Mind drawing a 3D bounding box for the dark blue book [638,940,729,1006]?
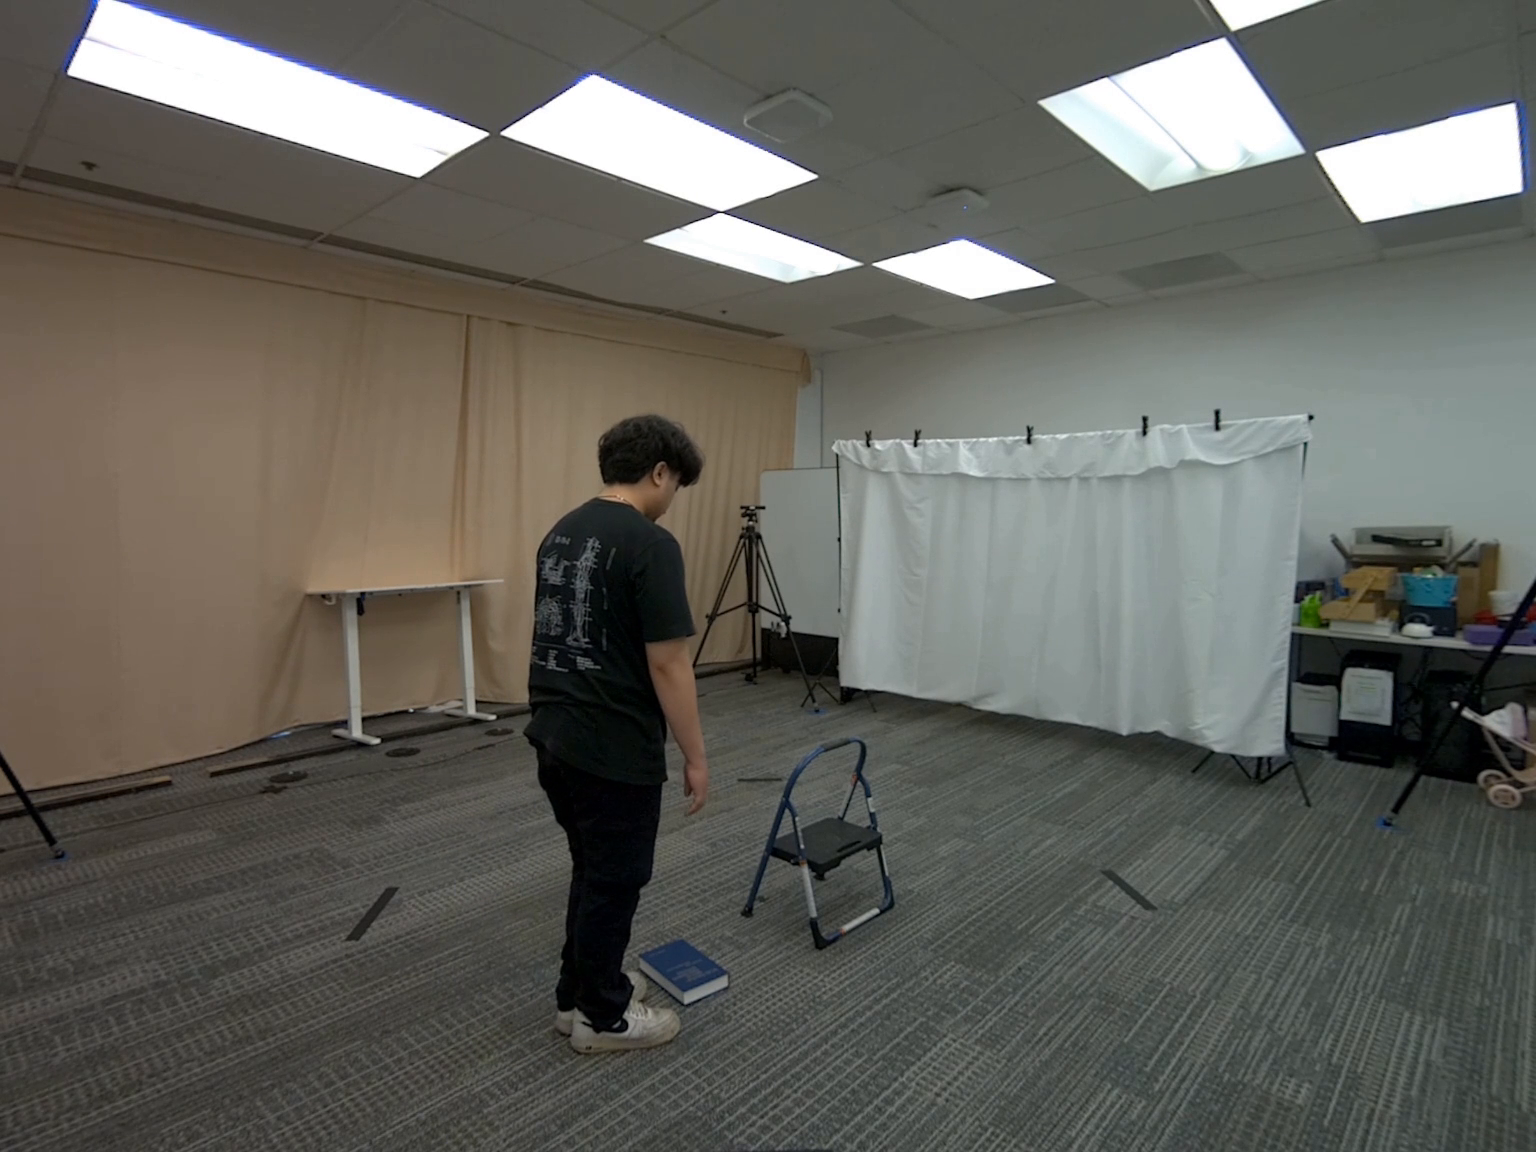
[{"bbox_3d":[-0.250,1.170,2.476,0.158,0.045,0.253,-4,6,-39],"label":"dark blue book"}]
